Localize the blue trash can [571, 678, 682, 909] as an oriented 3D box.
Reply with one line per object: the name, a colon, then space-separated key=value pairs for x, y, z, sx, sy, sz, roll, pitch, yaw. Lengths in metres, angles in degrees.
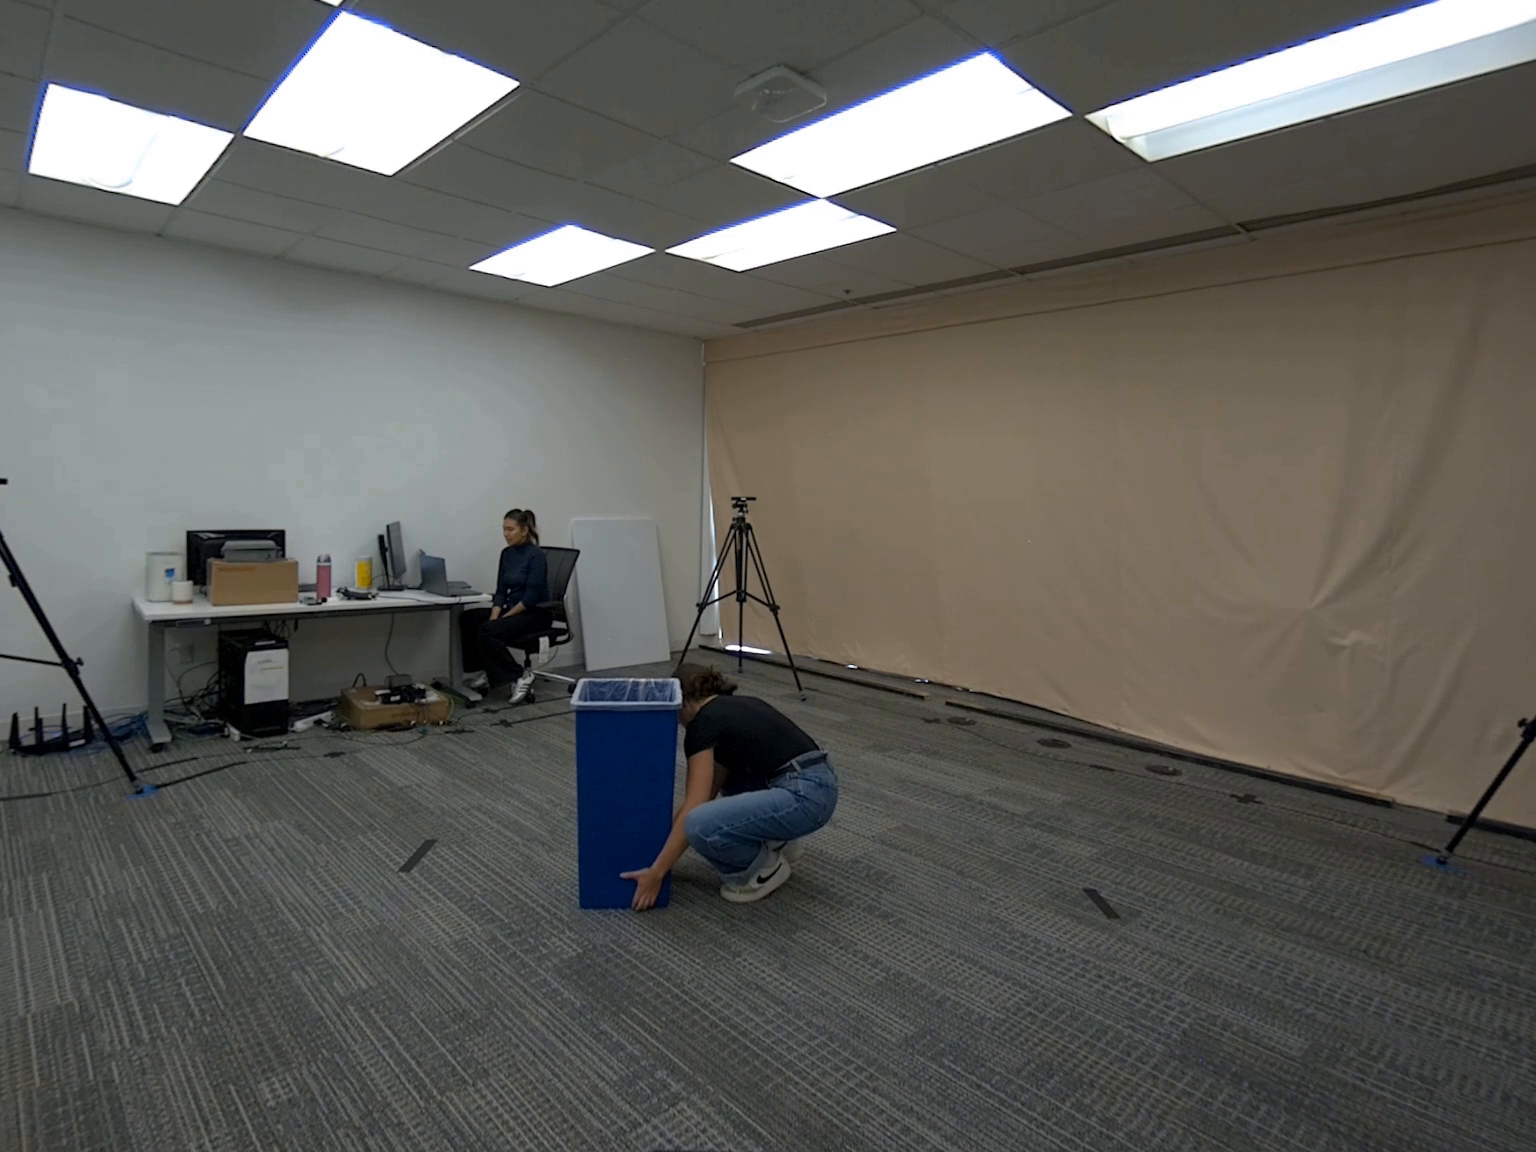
blue trash can: x=-0.506 y=0.751 z=2.963 sx=0.376 sy=0.712 sz=0.377 roll=1 pitch=3 yaw=-7
